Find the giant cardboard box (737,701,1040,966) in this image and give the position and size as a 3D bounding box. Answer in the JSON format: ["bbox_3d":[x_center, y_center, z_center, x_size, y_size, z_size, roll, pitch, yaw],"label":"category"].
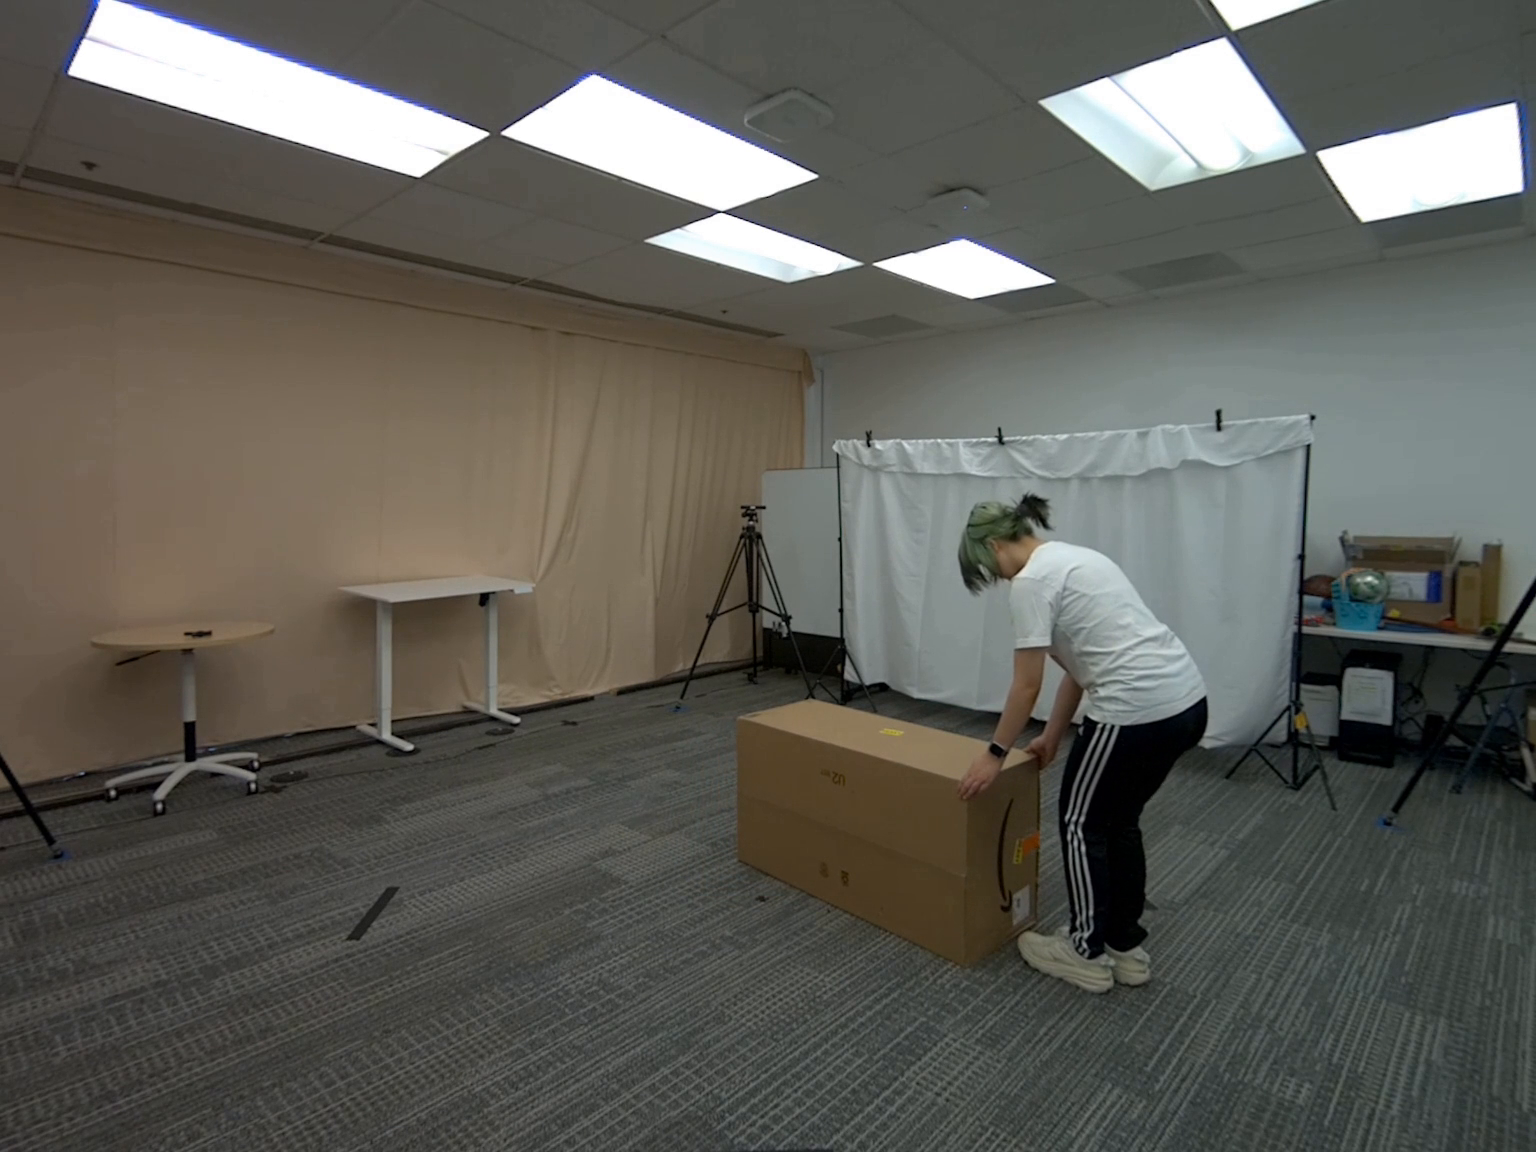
[{"bbox_3d":[0.392,0.849,3.033,0.433,0.582,1.062,-3,5,-43],"label":"giant cardboard box"}]
